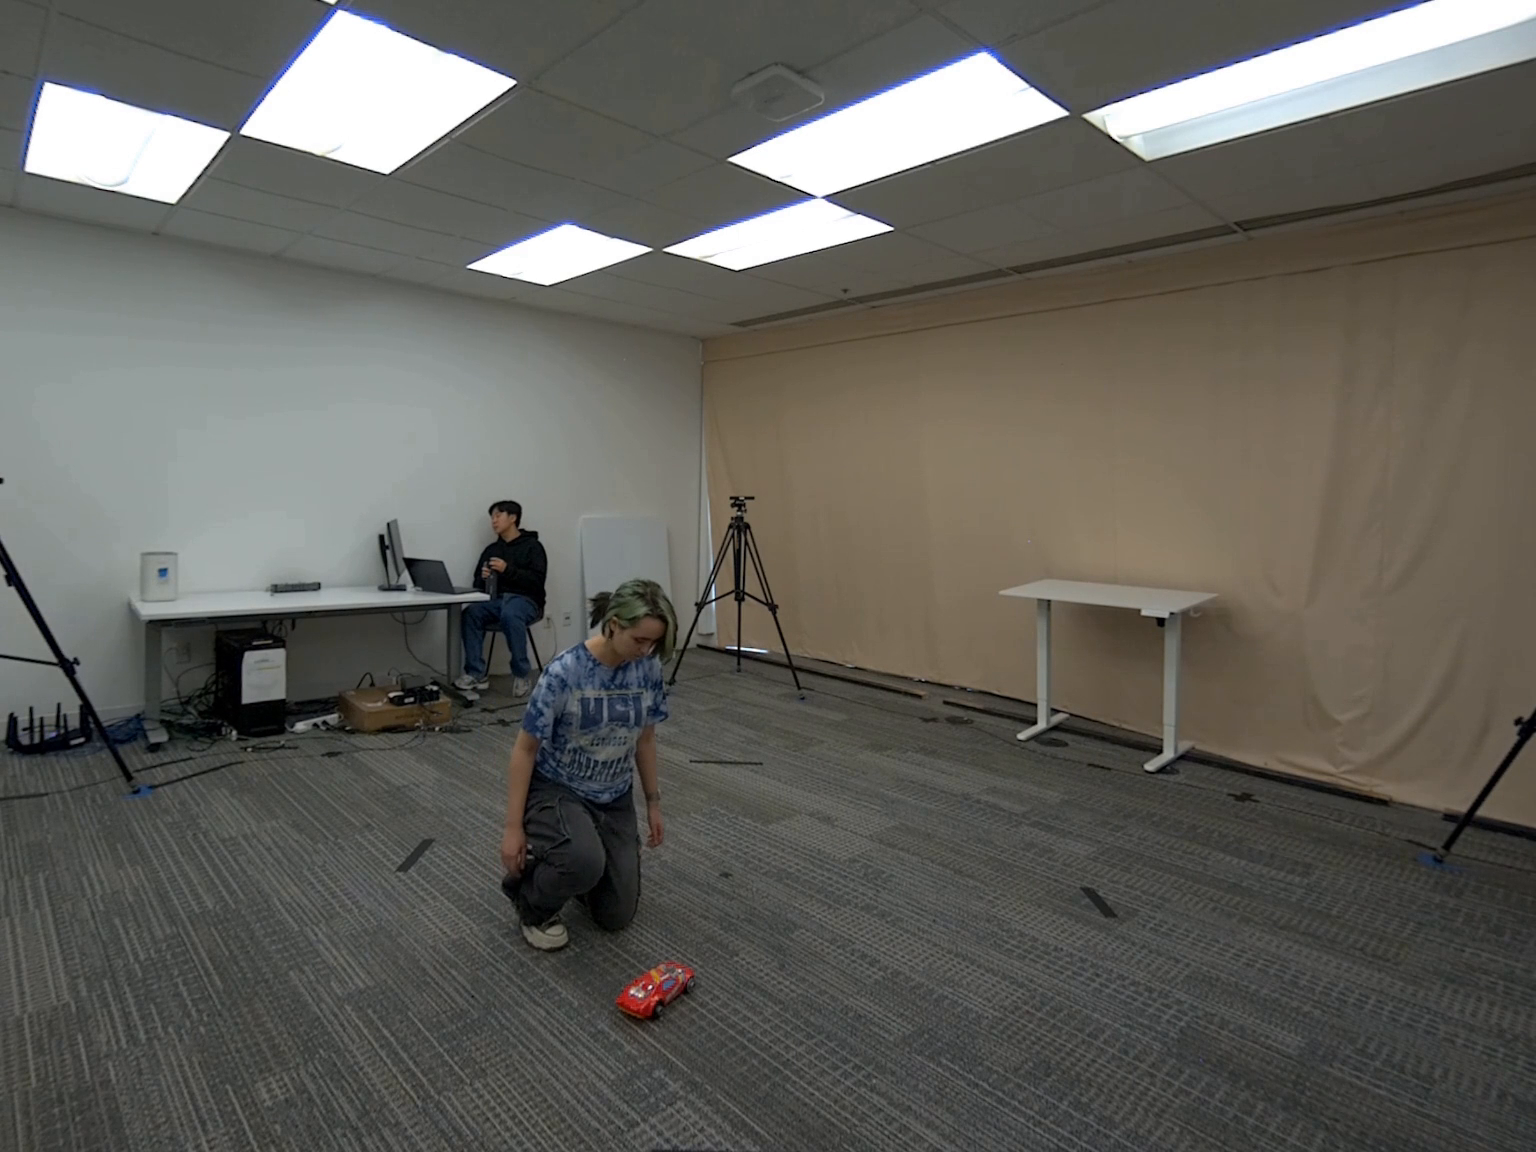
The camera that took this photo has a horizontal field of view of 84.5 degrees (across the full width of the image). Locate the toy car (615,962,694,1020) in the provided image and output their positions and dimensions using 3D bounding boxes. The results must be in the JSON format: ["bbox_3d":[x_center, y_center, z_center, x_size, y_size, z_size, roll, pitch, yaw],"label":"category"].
[{"bbox_3d":[-0.314,1.146,2.300,0.133,0.083,0.248,4,-5,32],"label":"toy car"}]
